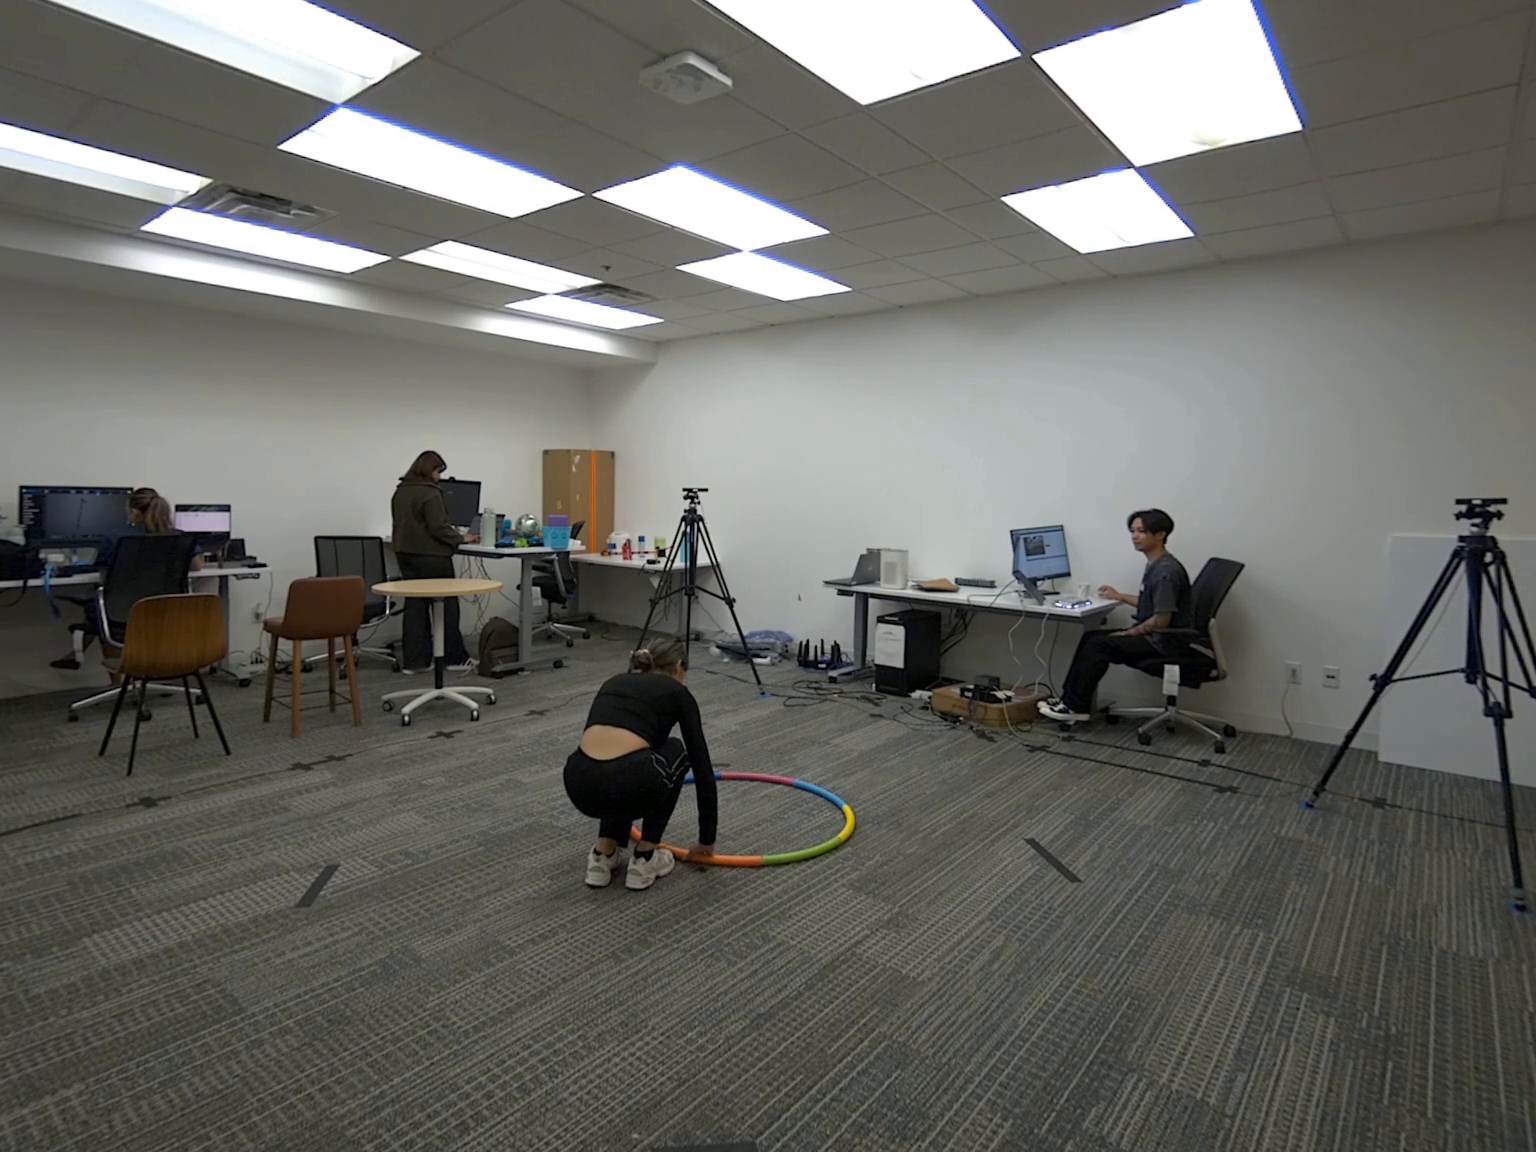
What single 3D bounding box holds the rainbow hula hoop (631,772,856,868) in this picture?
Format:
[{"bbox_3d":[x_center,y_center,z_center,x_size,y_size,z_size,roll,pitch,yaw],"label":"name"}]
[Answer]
[{"bbox_3d":[-0.134,0.992,3.609,0.978,0.035,0.984,1,6,-2],"label":"rainbow hula hoop"}]
